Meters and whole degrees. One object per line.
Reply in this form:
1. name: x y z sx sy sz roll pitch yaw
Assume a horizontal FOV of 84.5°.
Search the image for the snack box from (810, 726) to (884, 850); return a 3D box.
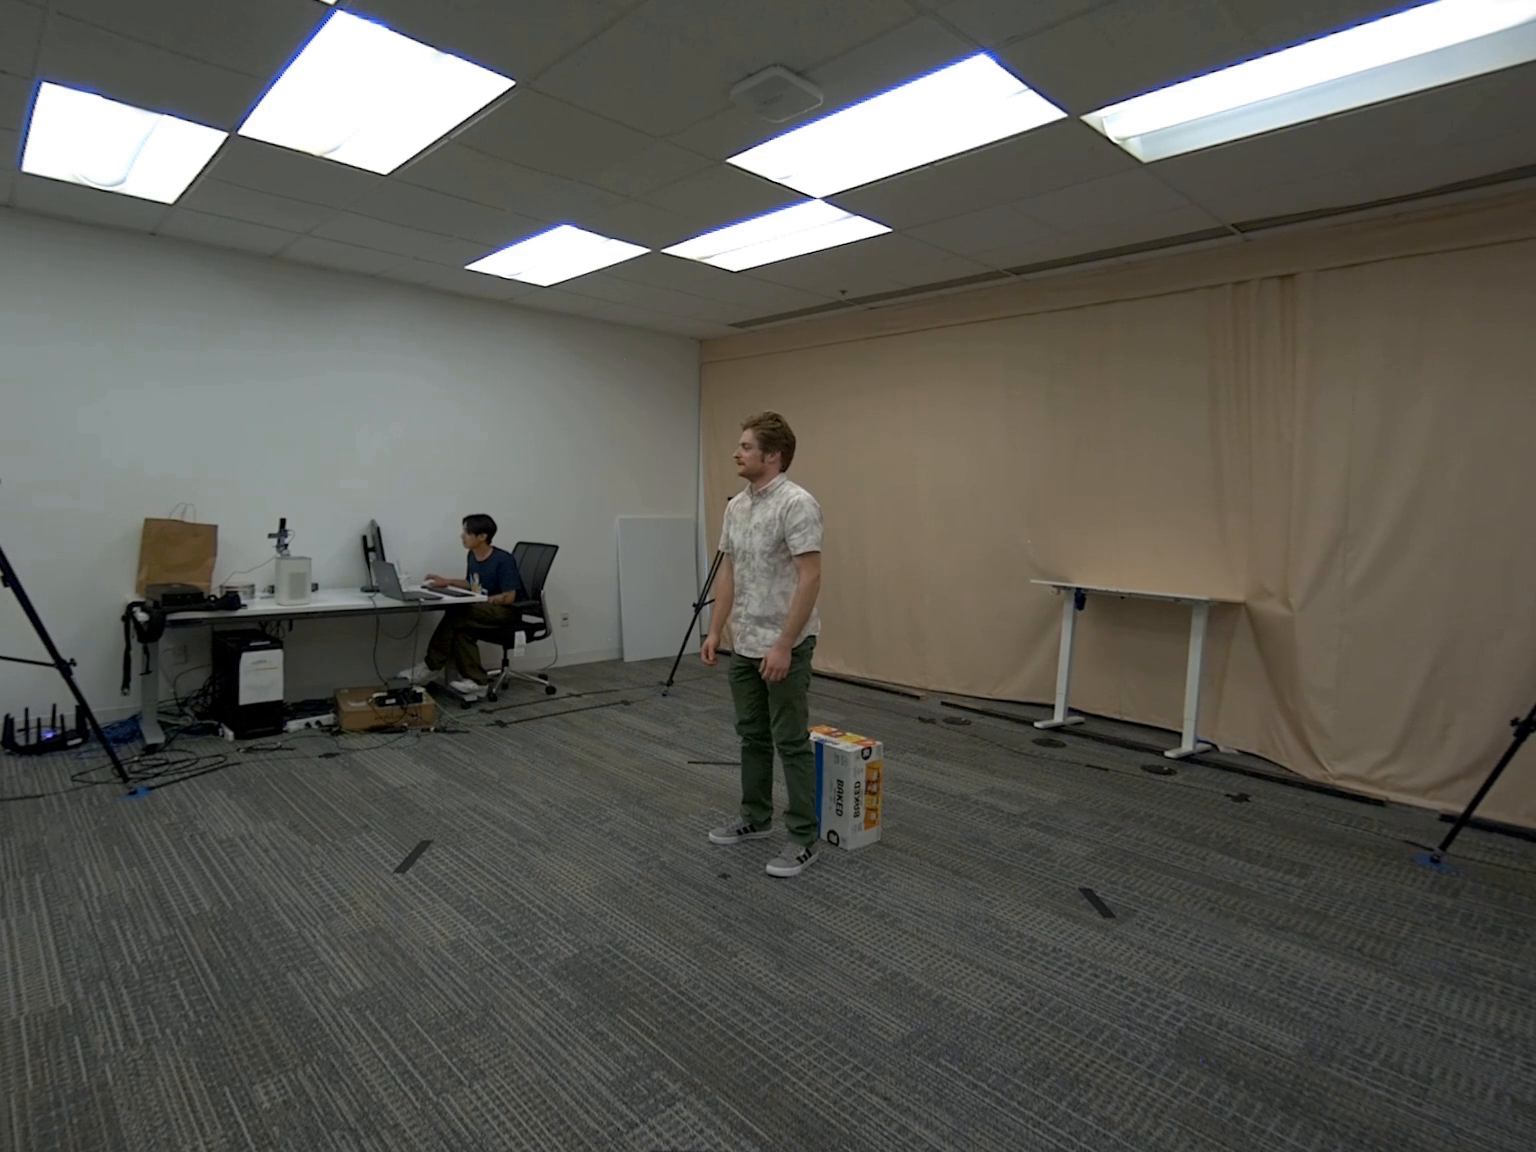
1. snack box: 0.279 0.879 3.540 0.201 0.404 0.349 -2 5 -41
